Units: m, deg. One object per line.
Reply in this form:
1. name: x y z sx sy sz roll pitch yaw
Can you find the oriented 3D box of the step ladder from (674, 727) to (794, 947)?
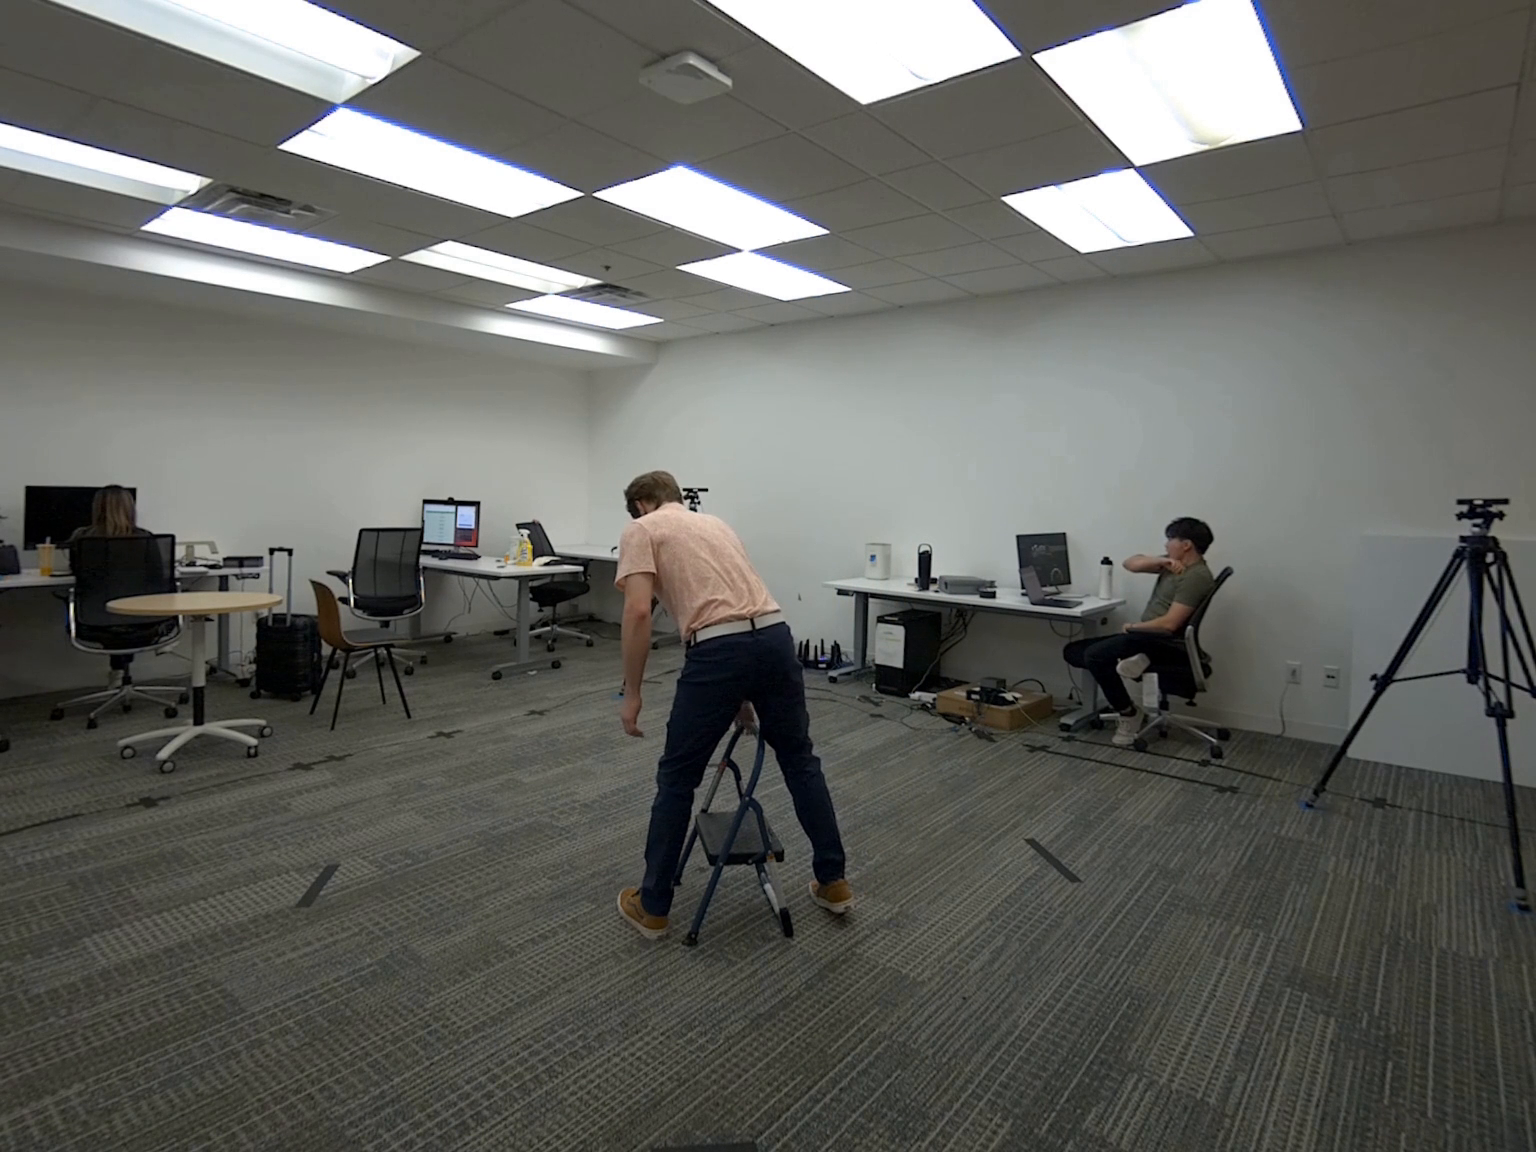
1. step ladder: -0.133 0.801 2.804 0.345 0.604 0.438 0 5 -13
